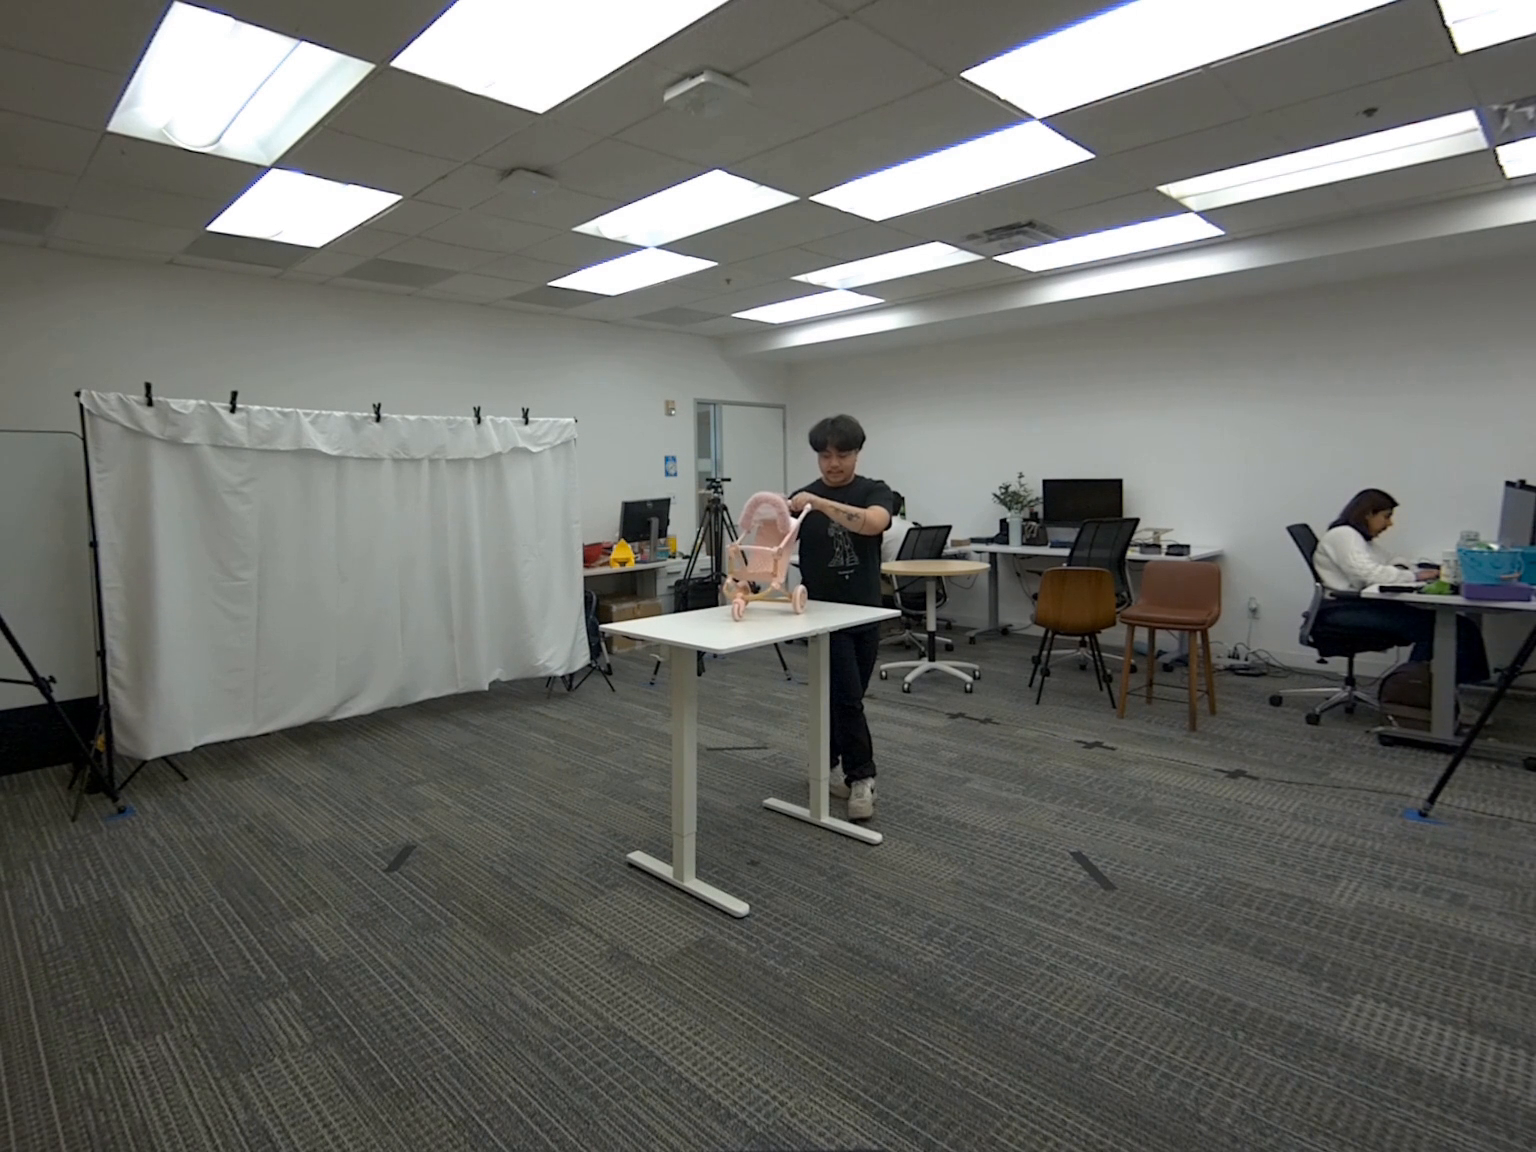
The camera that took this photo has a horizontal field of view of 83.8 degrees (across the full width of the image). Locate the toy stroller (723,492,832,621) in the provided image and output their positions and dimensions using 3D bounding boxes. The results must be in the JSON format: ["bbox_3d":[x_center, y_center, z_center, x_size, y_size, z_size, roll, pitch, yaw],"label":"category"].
[{"bbox_3d":[-0.021,-0.079,3.231,0.289,0.539,0.329,1,-11,32],"label":"toy stroller"}]
